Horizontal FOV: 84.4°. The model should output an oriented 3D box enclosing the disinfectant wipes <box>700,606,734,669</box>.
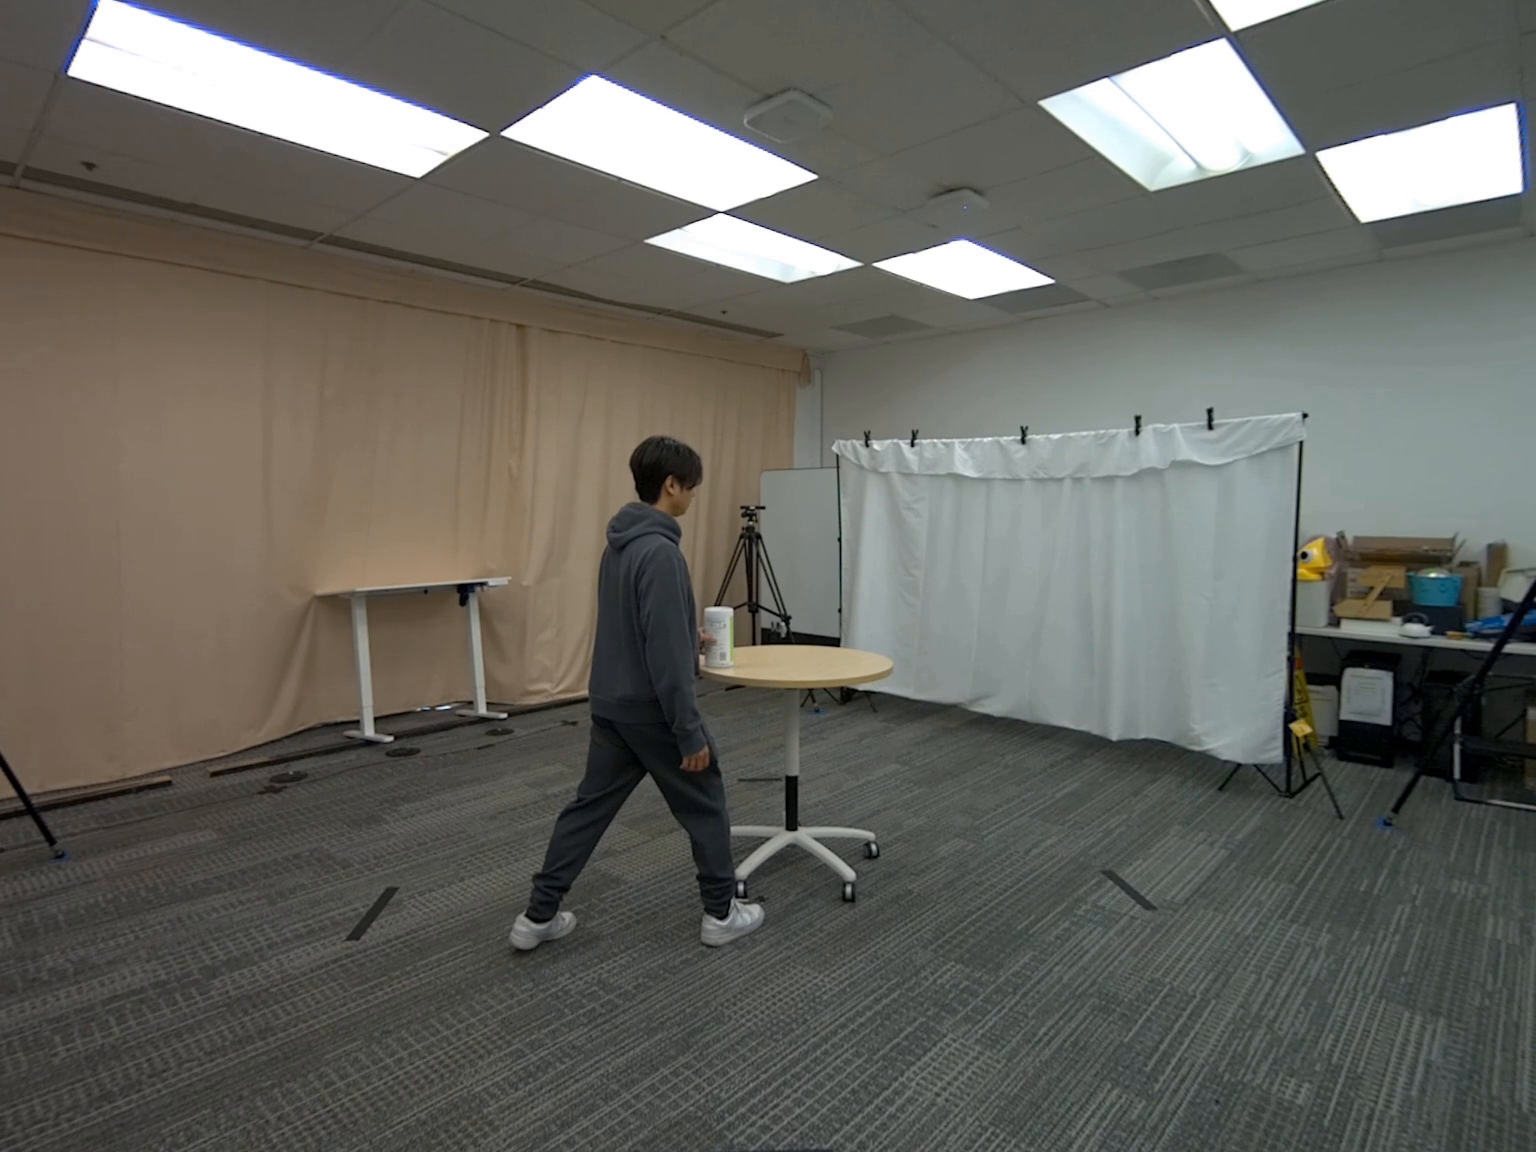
[{"bbox_3d":[-0.181,0.225,3.128,0.118,0.217,0.118,0,2,-2],"label":"disinfectant wipes"}]
